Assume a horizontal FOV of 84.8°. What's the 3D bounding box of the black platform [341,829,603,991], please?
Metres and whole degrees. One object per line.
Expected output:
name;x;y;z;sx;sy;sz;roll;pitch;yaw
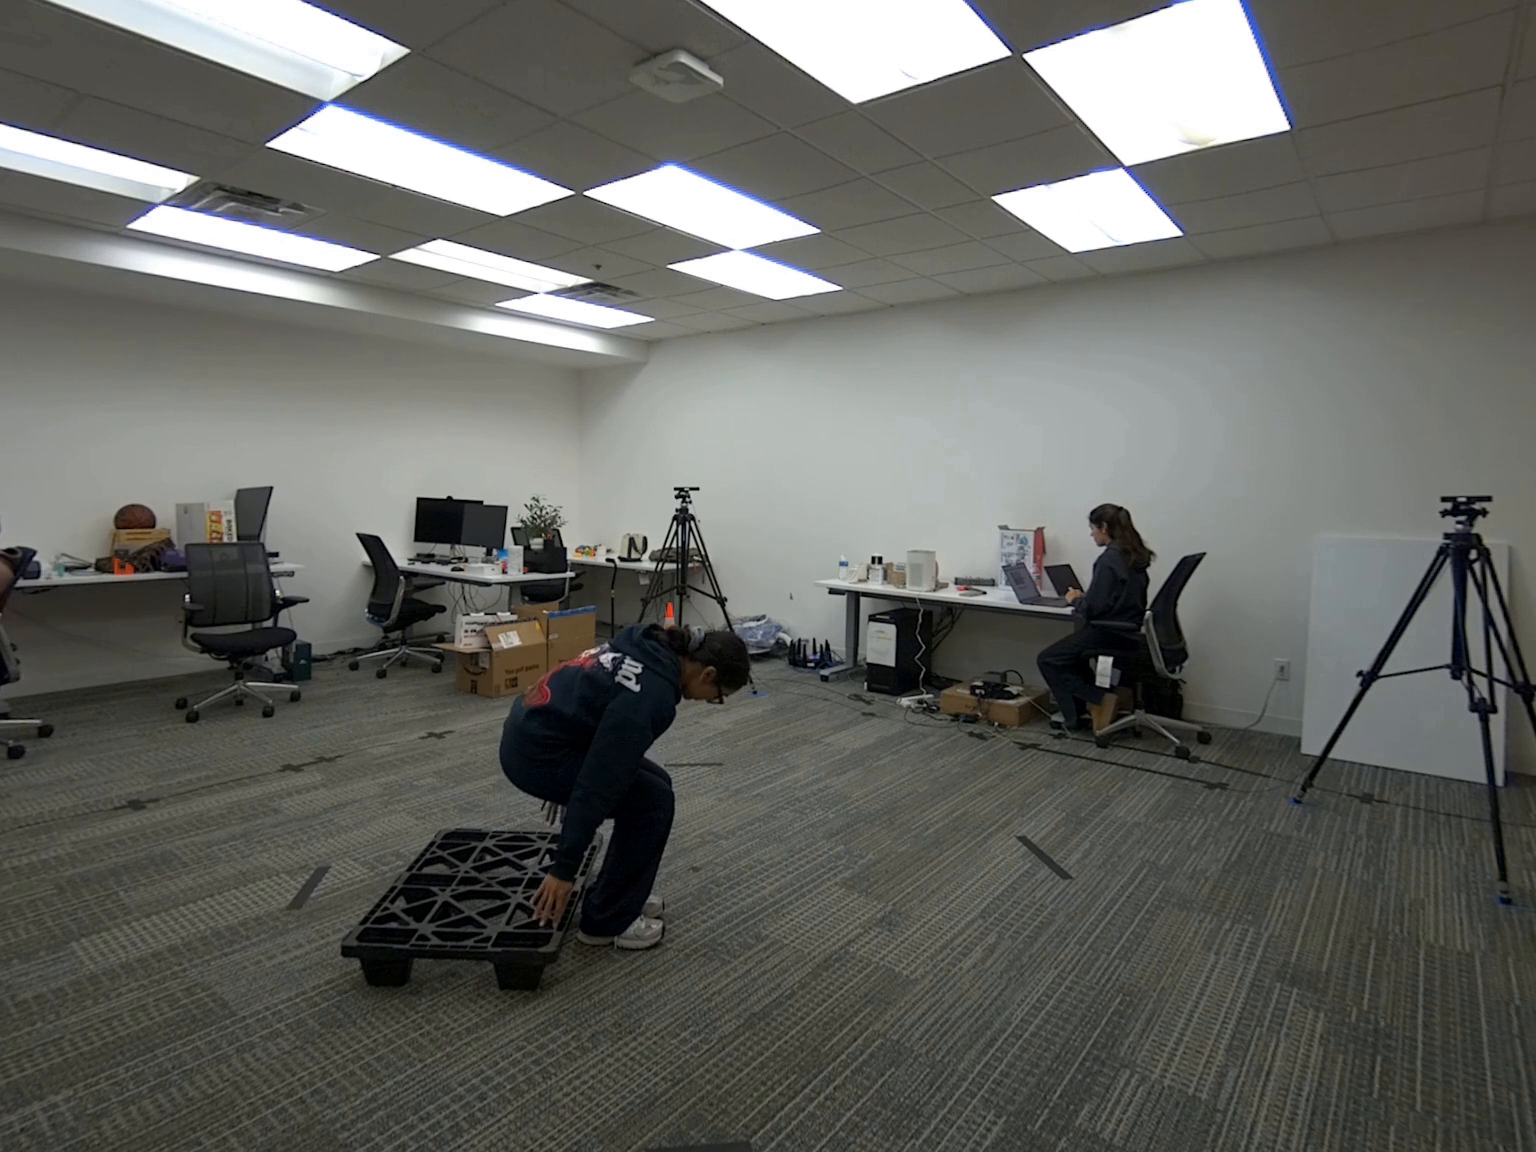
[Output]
black platform;-0.900;1.029;2.702;0.605;0.143;0.809;0;6;-1
